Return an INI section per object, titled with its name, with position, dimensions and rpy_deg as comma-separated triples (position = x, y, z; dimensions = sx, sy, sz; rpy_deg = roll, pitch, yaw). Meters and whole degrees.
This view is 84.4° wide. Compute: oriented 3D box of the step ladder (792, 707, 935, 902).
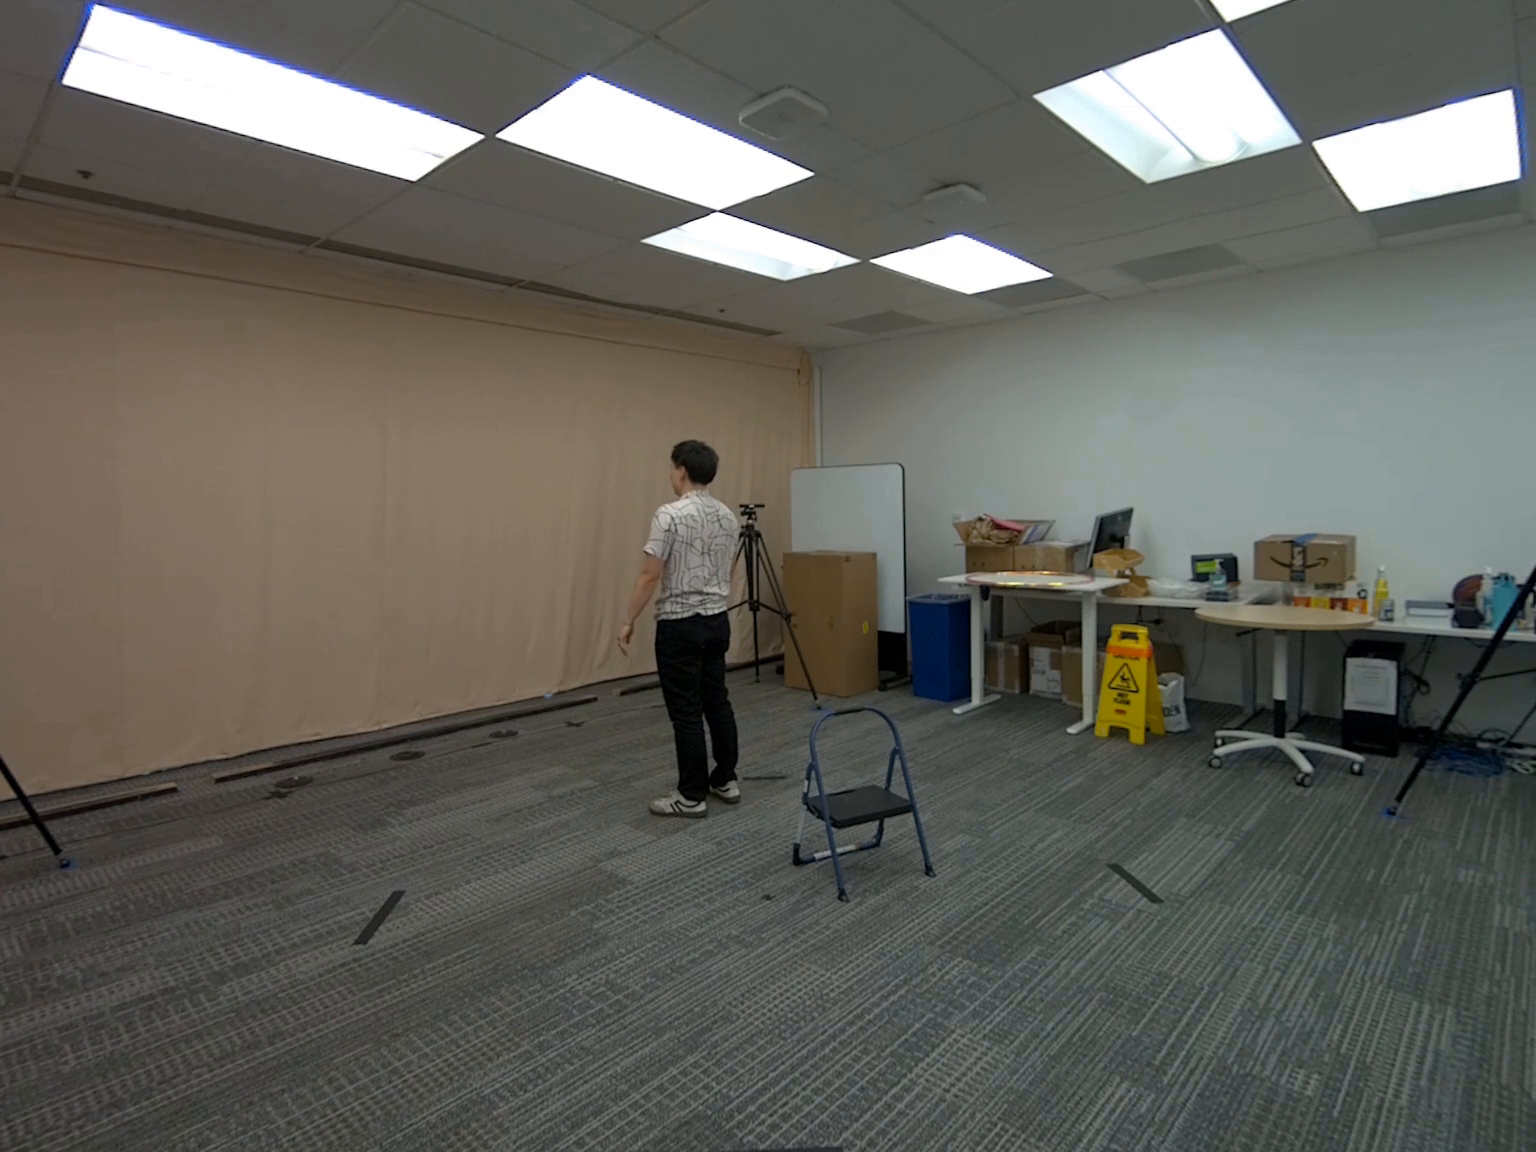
[step ladder]
position = 0.357, 0.812, 3.173
dimensions = 0.419, 0.605, 0.359
rpy_deg = -3, 4, -30
